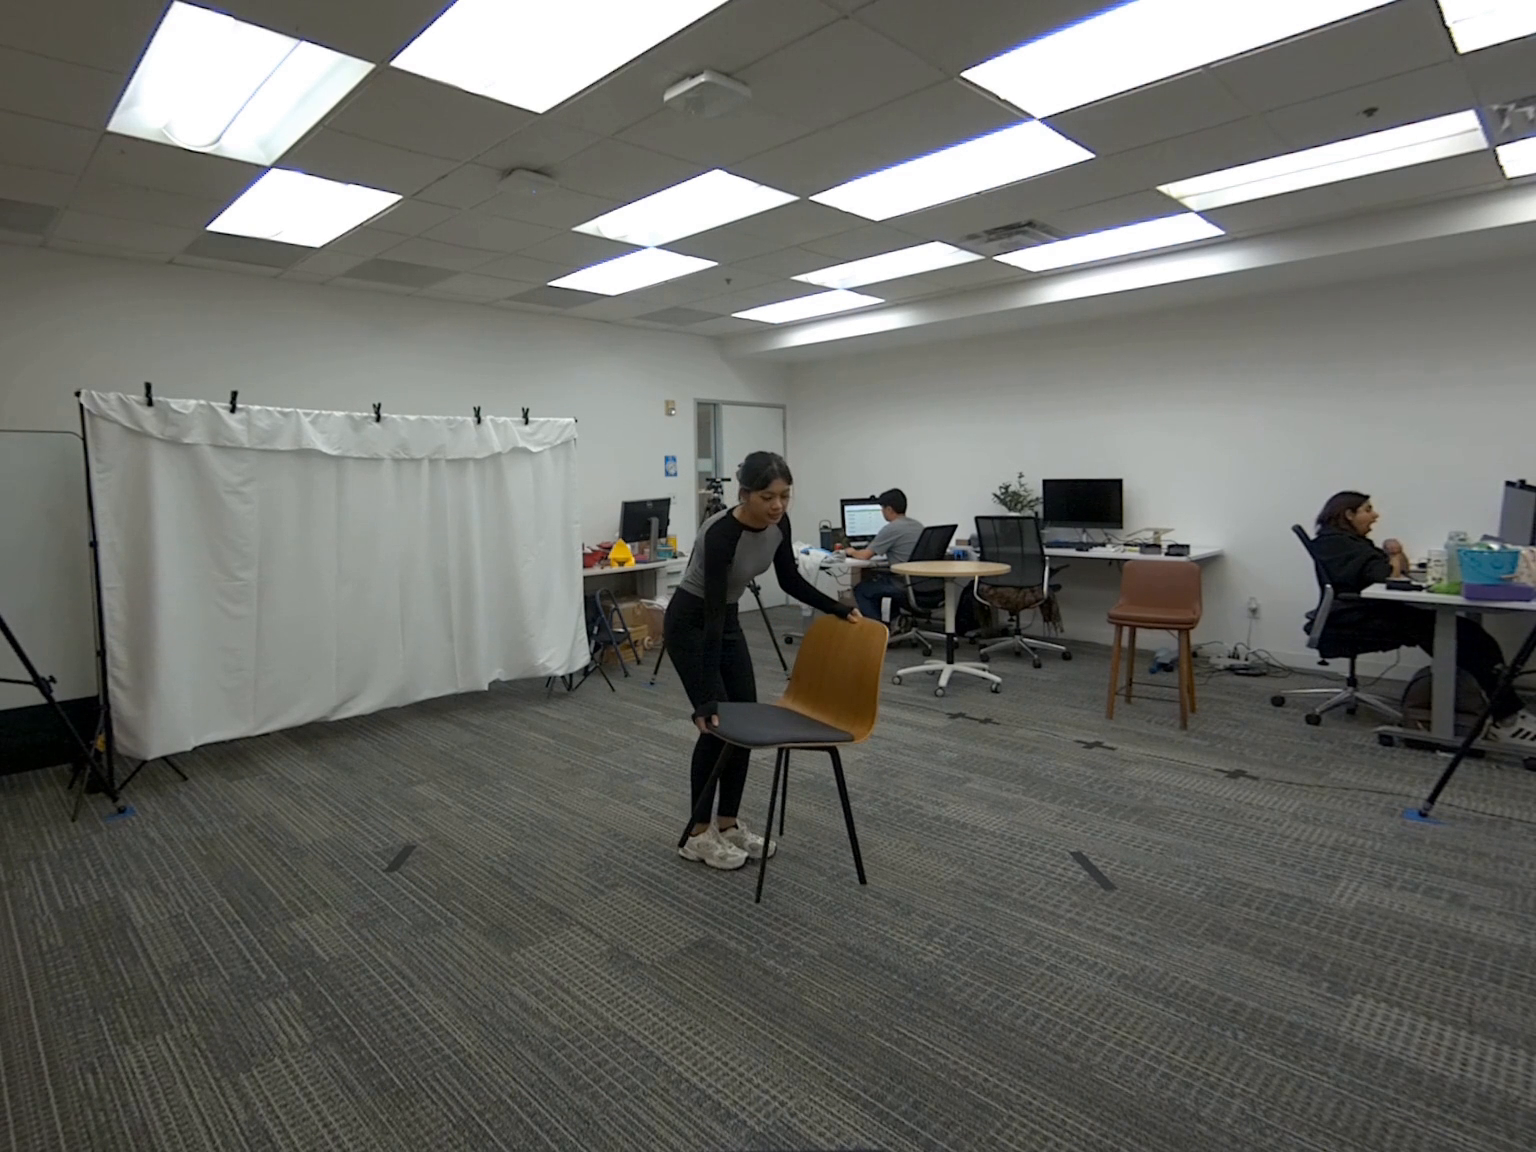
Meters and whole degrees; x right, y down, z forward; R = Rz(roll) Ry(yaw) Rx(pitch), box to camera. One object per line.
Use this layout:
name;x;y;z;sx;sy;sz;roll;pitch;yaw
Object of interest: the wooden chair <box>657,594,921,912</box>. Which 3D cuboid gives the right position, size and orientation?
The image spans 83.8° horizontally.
wooden chair;0.064;0.541;2.818;0.506;0.879;0.493;13;-3;-37
